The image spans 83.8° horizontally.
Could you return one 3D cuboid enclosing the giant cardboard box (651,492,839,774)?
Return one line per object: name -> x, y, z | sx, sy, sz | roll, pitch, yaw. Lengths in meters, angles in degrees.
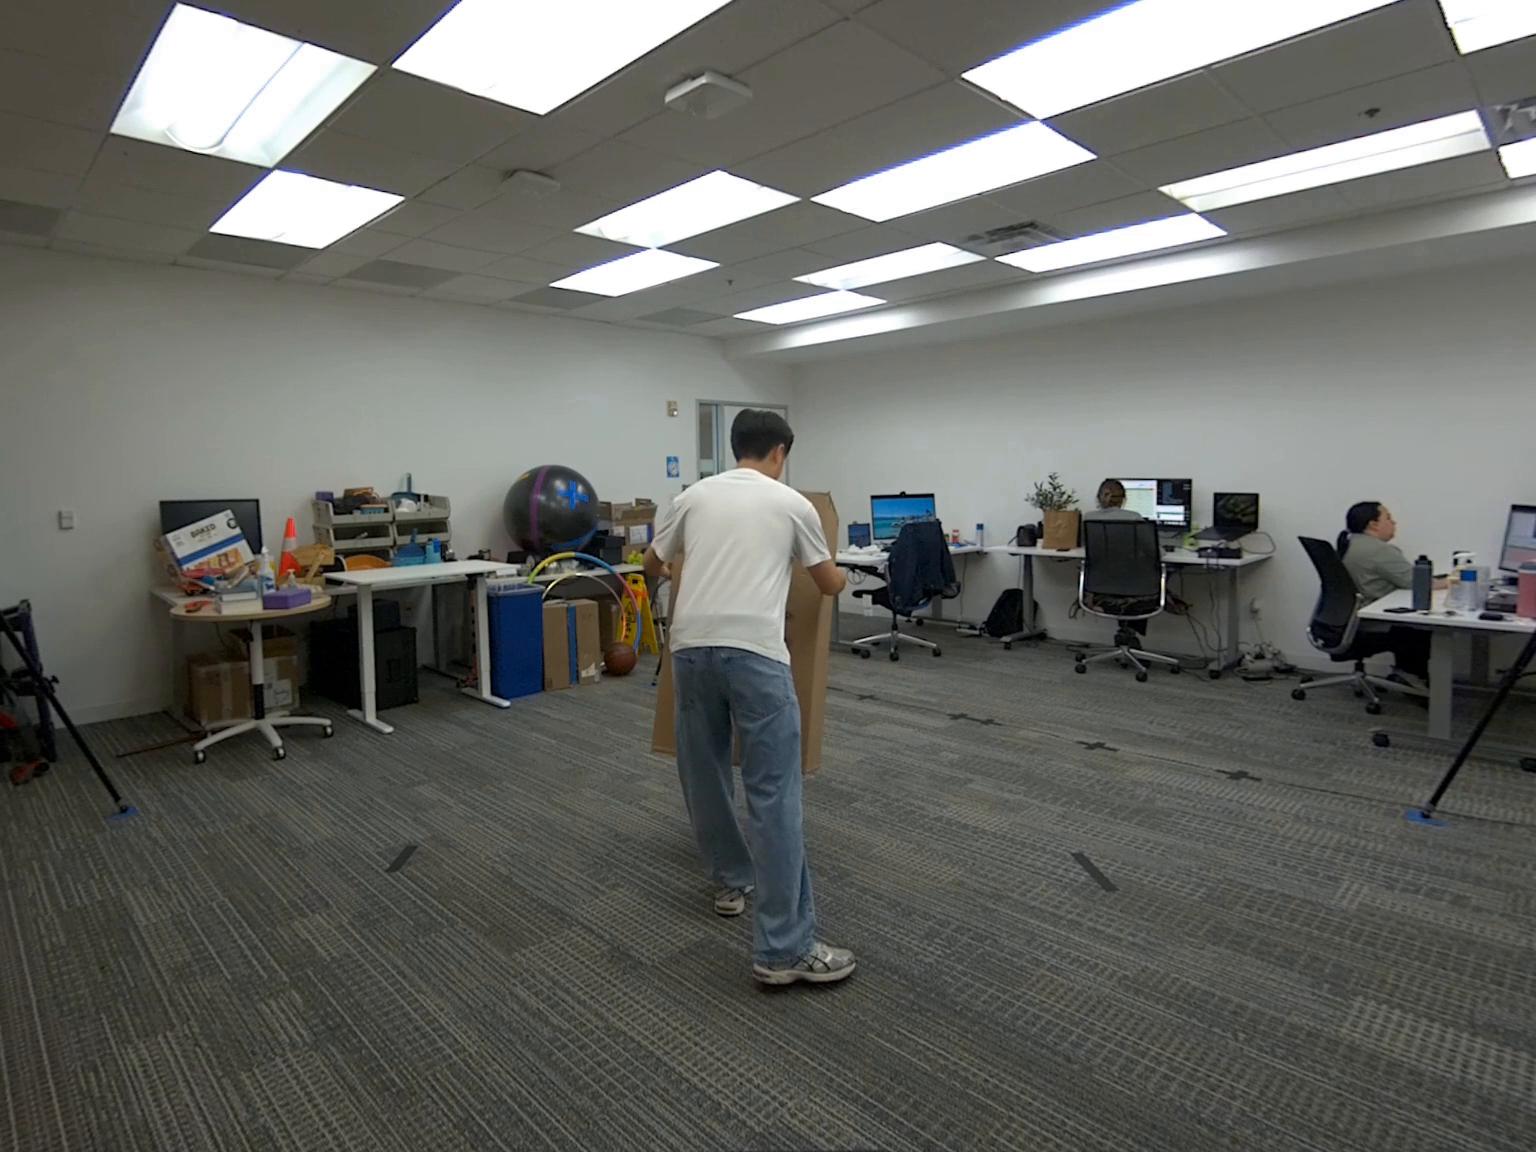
giant cardboard box -> -0.059, 0.212, 3.329 | 0.586, 1.035, 0.417 | 4, -11, 13
